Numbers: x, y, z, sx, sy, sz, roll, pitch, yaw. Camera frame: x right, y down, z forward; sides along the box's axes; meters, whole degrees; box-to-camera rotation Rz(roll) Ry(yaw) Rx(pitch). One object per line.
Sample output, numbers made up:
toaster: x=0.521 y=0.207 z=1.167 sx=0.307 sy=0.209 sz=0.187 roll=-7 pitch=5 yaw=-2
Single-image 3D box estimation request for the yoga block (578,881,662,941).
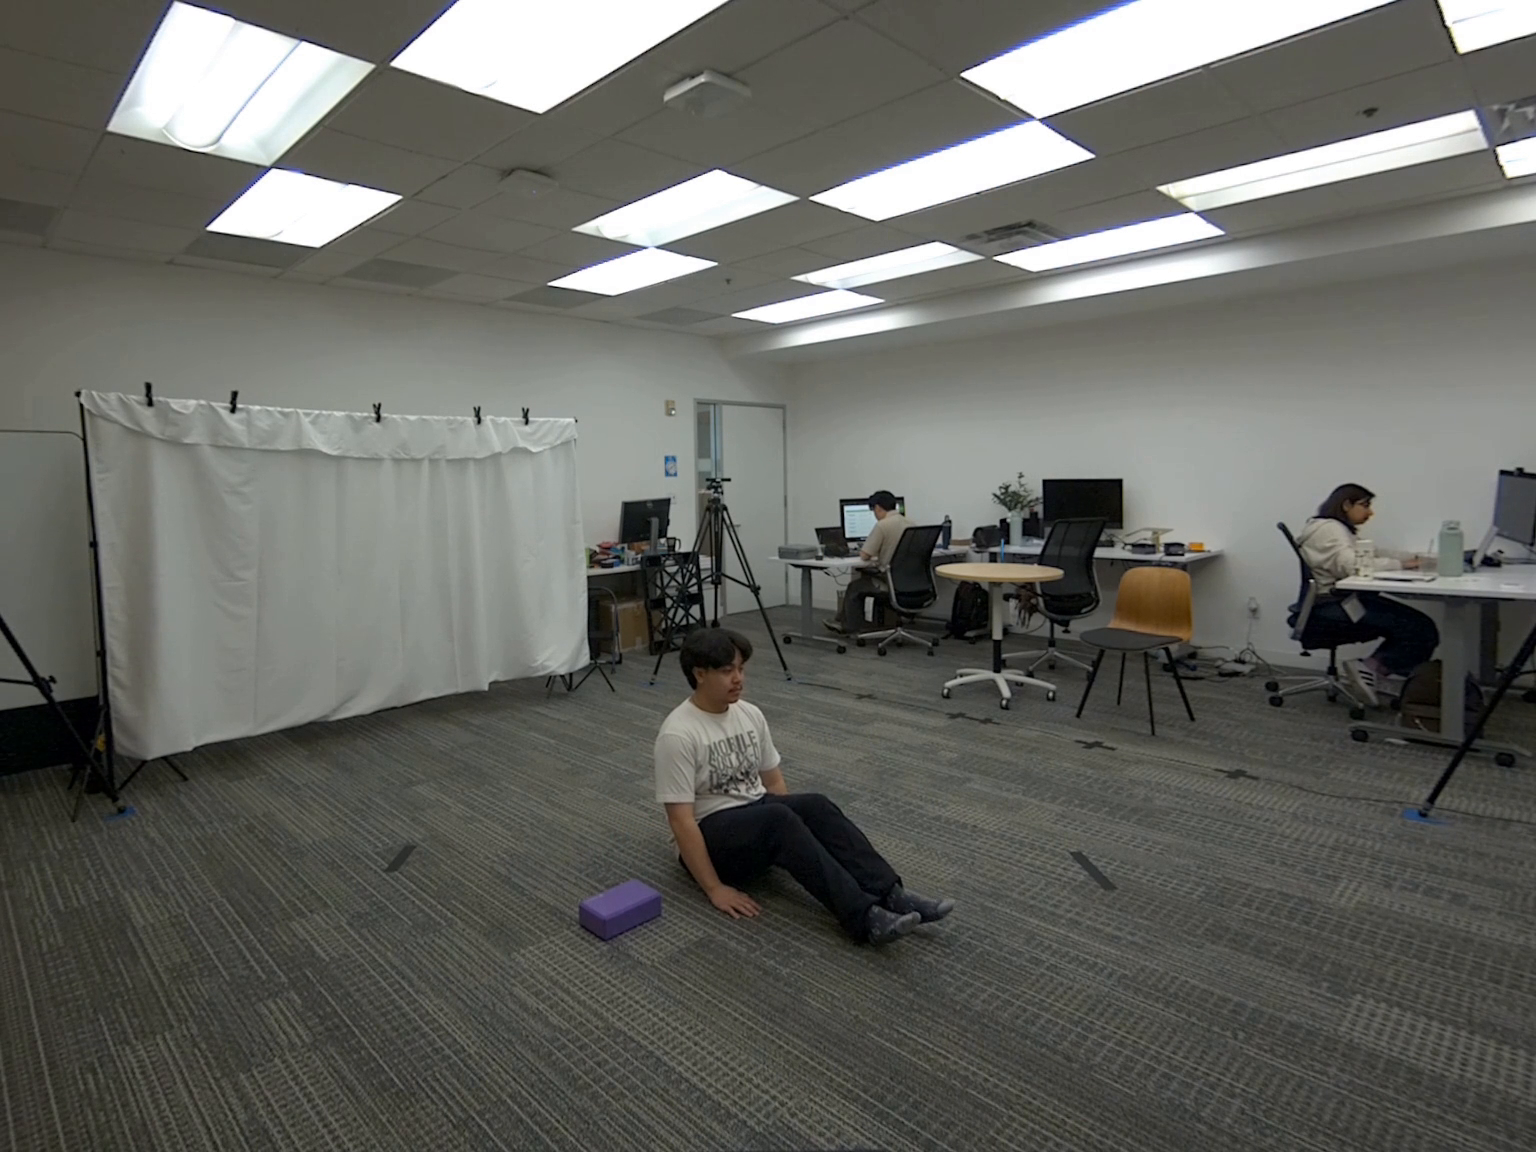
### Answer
yoga block: x=-0.461 y=1.054 z=2.716 sx=0.154 sy=0.076 sz=0.223 roll=6 pitch=10 yaw=43
